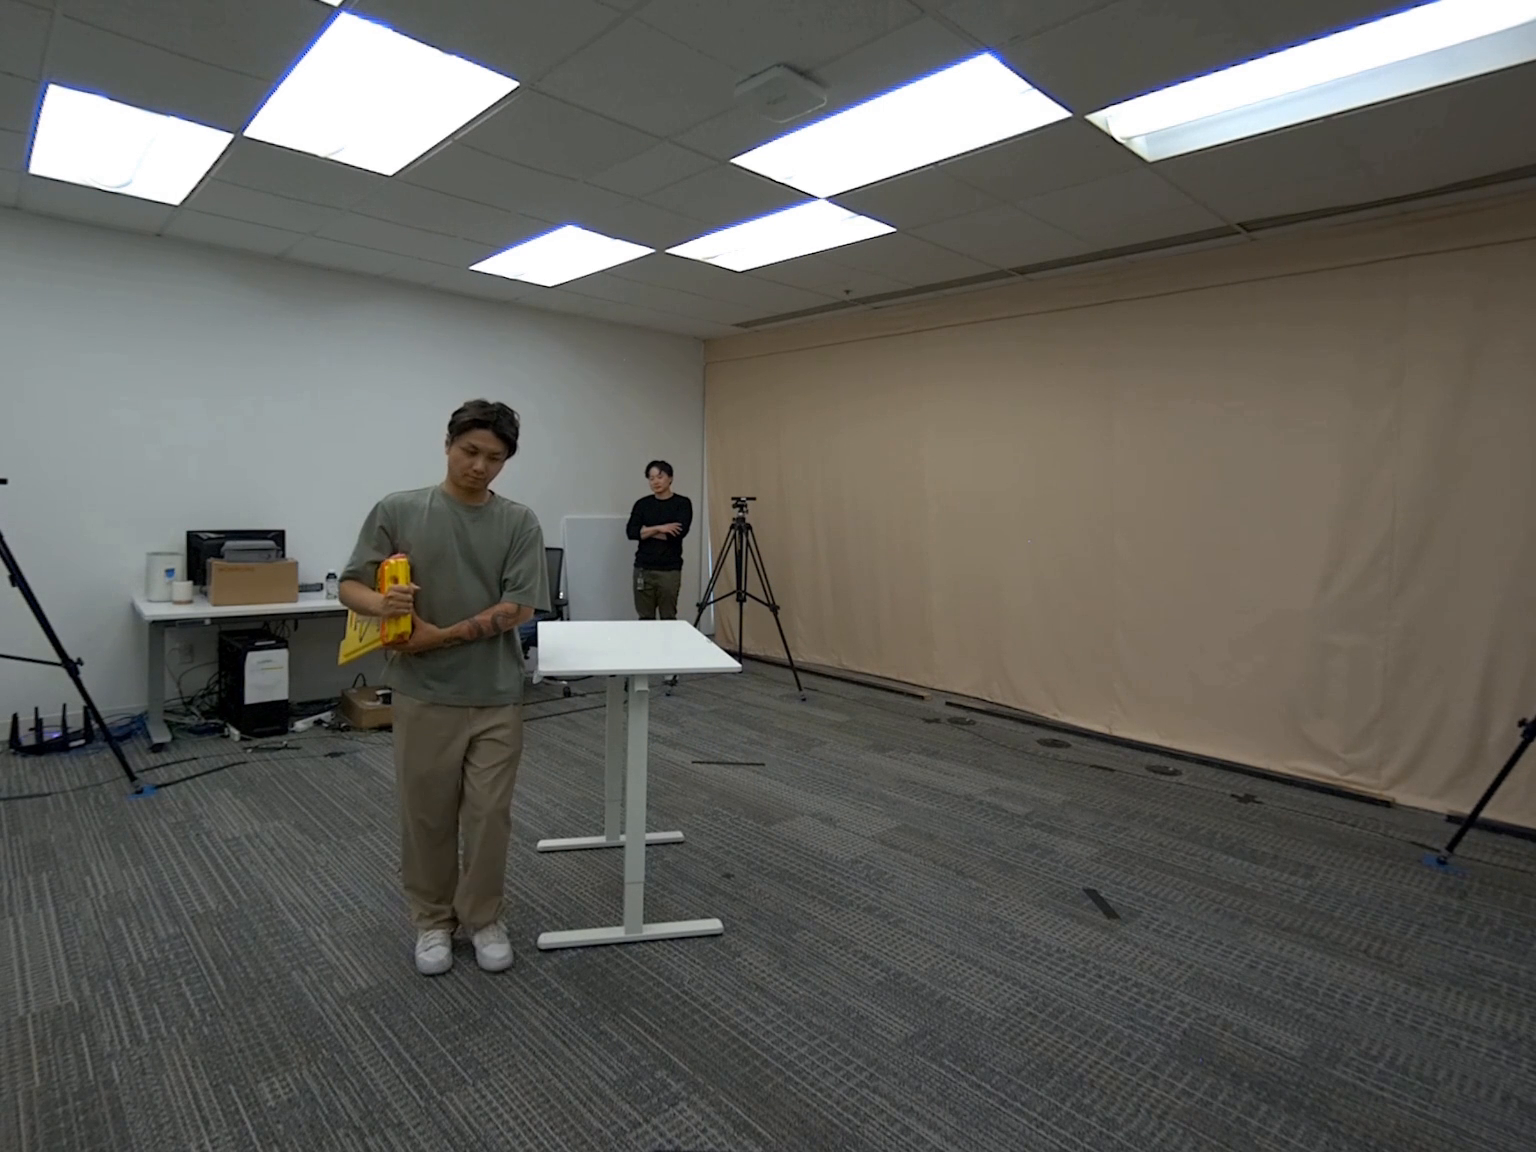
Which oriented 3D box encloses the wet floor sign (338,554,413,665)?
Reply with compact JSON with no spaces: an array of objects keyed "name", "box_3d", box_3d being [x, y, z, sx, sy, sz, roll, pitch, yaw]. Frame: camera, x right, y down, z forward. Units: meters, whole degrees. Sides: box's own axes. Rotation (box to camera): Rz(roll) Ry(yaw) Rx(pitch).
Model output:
[{"name":"wet floor sign","box_3d":[-1.140,0.107,2.493,0.284,0.284,0.655,-1,-7,-30]}]
